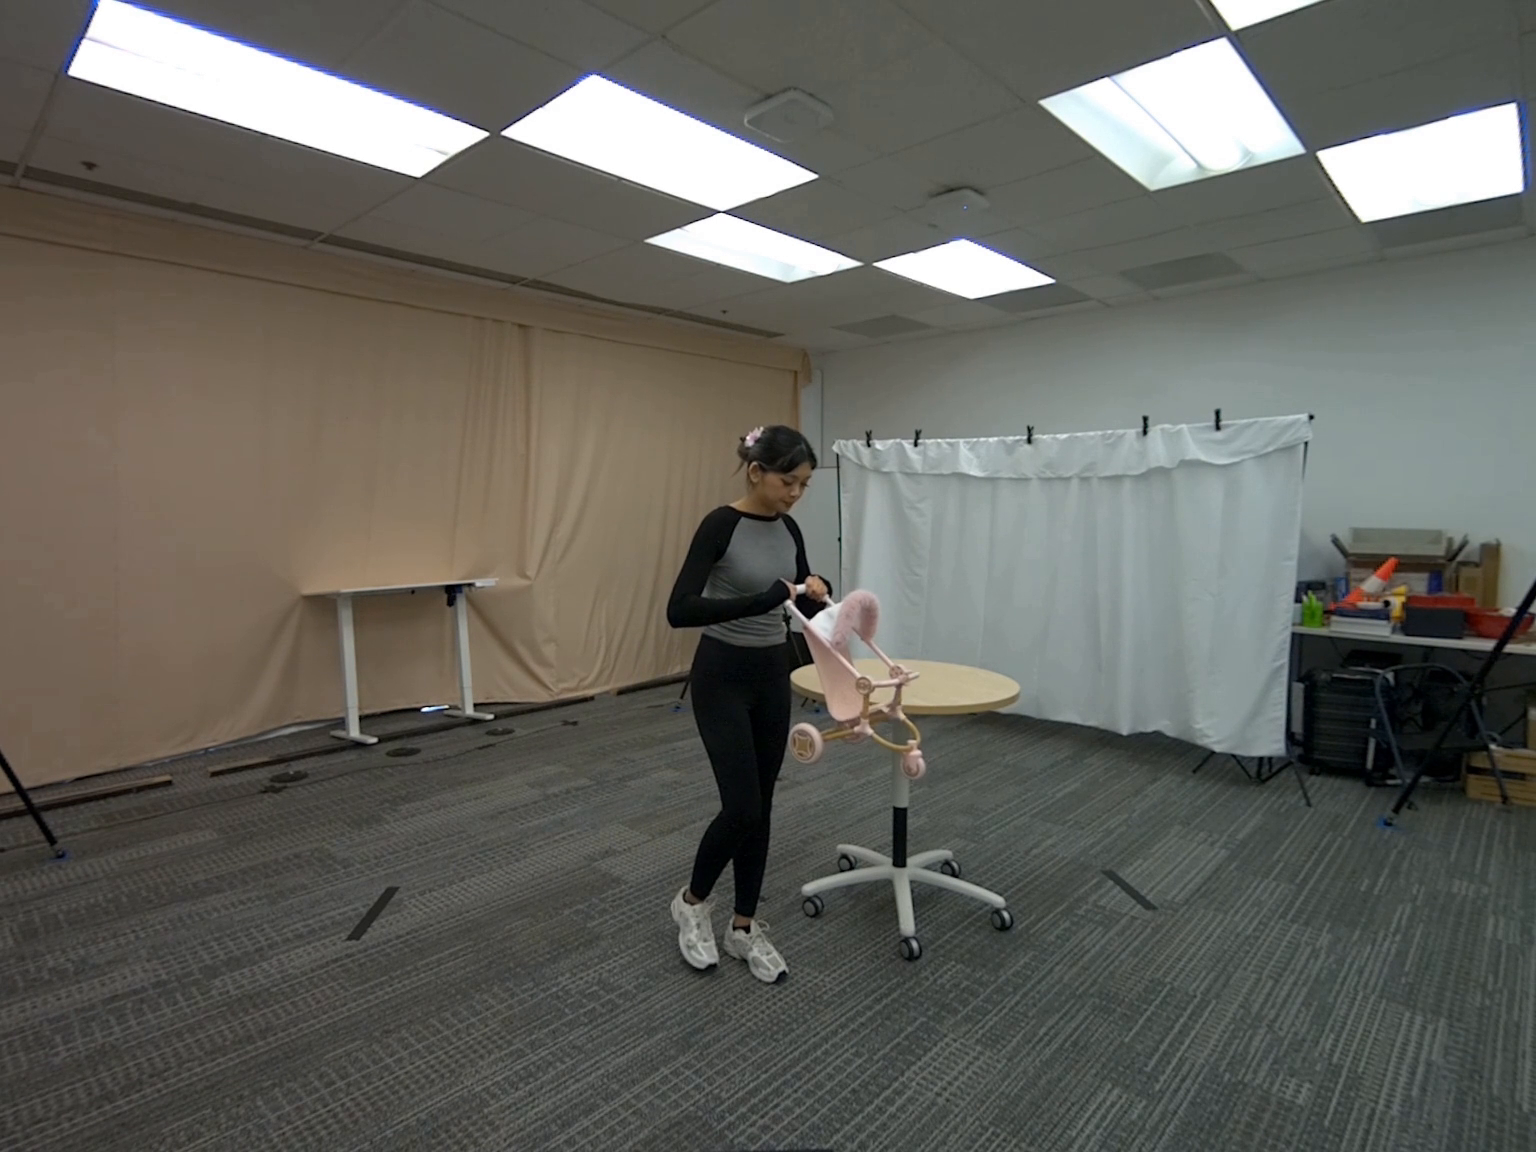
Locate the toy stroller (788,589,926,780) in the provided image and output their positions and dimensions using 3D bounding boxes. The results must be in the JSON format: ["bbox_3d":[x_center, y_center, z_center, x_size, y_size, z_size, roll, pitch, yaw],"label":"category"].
[{"bbox_3d":[0.248,0.275,2.250,0.351,0.536,0.273,-9,-4,41],"label":"toy stroller"}]
